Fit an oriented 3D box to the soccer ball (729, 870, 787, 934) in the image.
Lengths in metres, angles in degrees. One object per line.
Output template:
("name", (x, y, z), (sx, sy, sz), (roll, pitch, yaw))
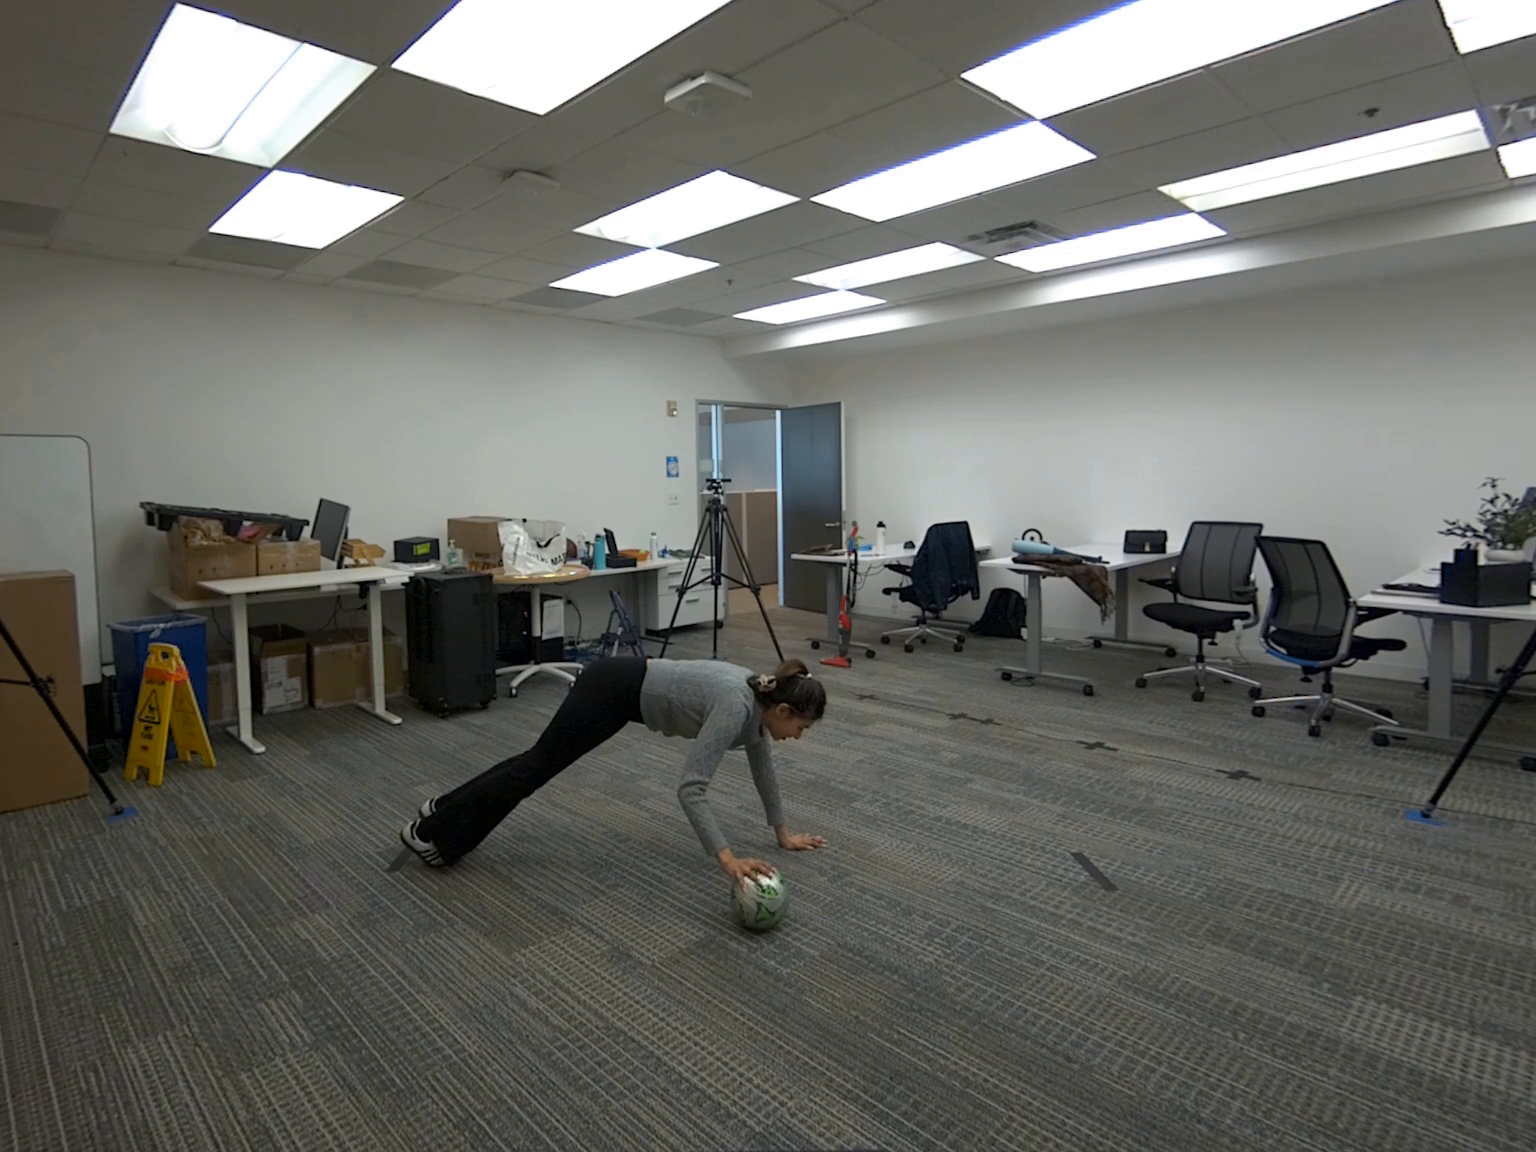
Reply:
("soccer ball", (-0.028, 1.005, 2.675), (0.187, 0.187, 0.188), (-1, 5, -2))
